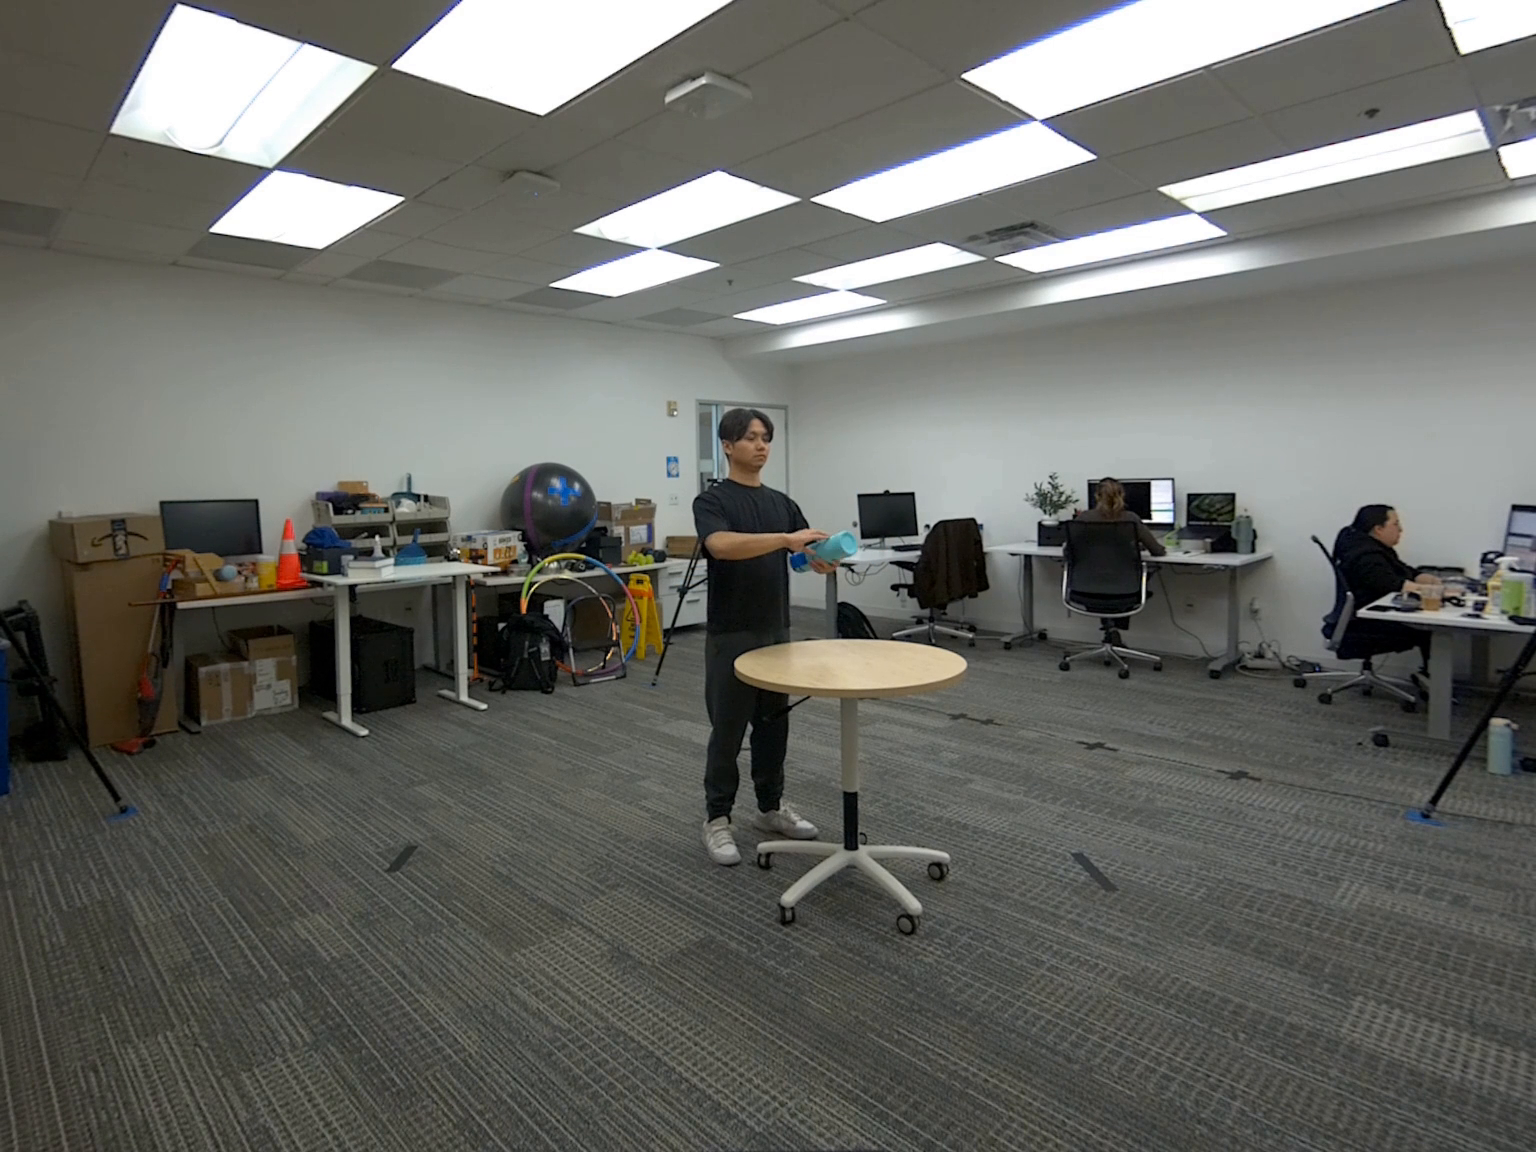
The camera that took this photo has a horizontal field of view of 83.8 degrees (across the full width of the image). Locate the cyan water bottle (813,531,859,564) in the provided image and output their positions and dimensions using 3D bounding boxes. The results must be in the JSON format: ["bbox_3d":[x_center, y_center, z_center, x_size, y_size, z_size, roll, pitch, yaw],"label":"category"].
[{"bbox_3d":[0.180,-0.078,3.051,0.090,0.093,0.288,-5,-12,-41],"label":"cyan water bottle"}]
